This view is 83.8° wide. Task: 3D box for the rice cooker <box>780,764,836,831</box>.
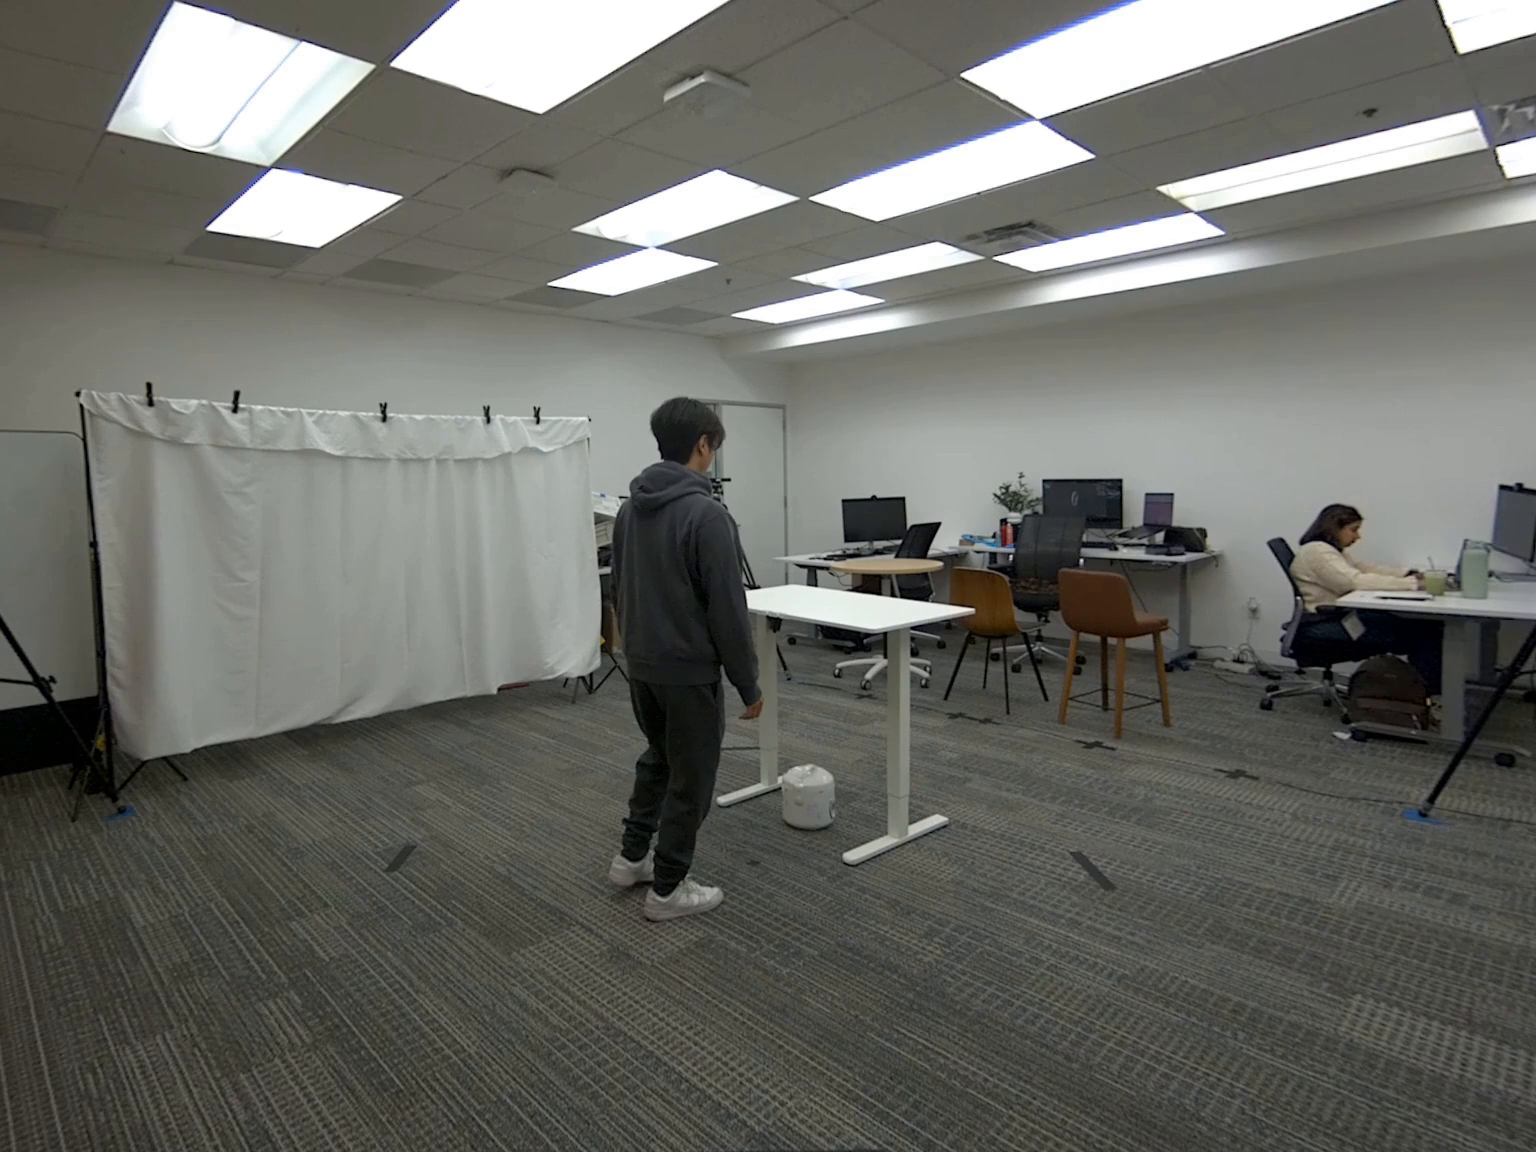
[{"bbox_3d":[0.167,0.880,3.459,0.223,0.232,0.216,0,5,27],"label":"rice cooker"}]
